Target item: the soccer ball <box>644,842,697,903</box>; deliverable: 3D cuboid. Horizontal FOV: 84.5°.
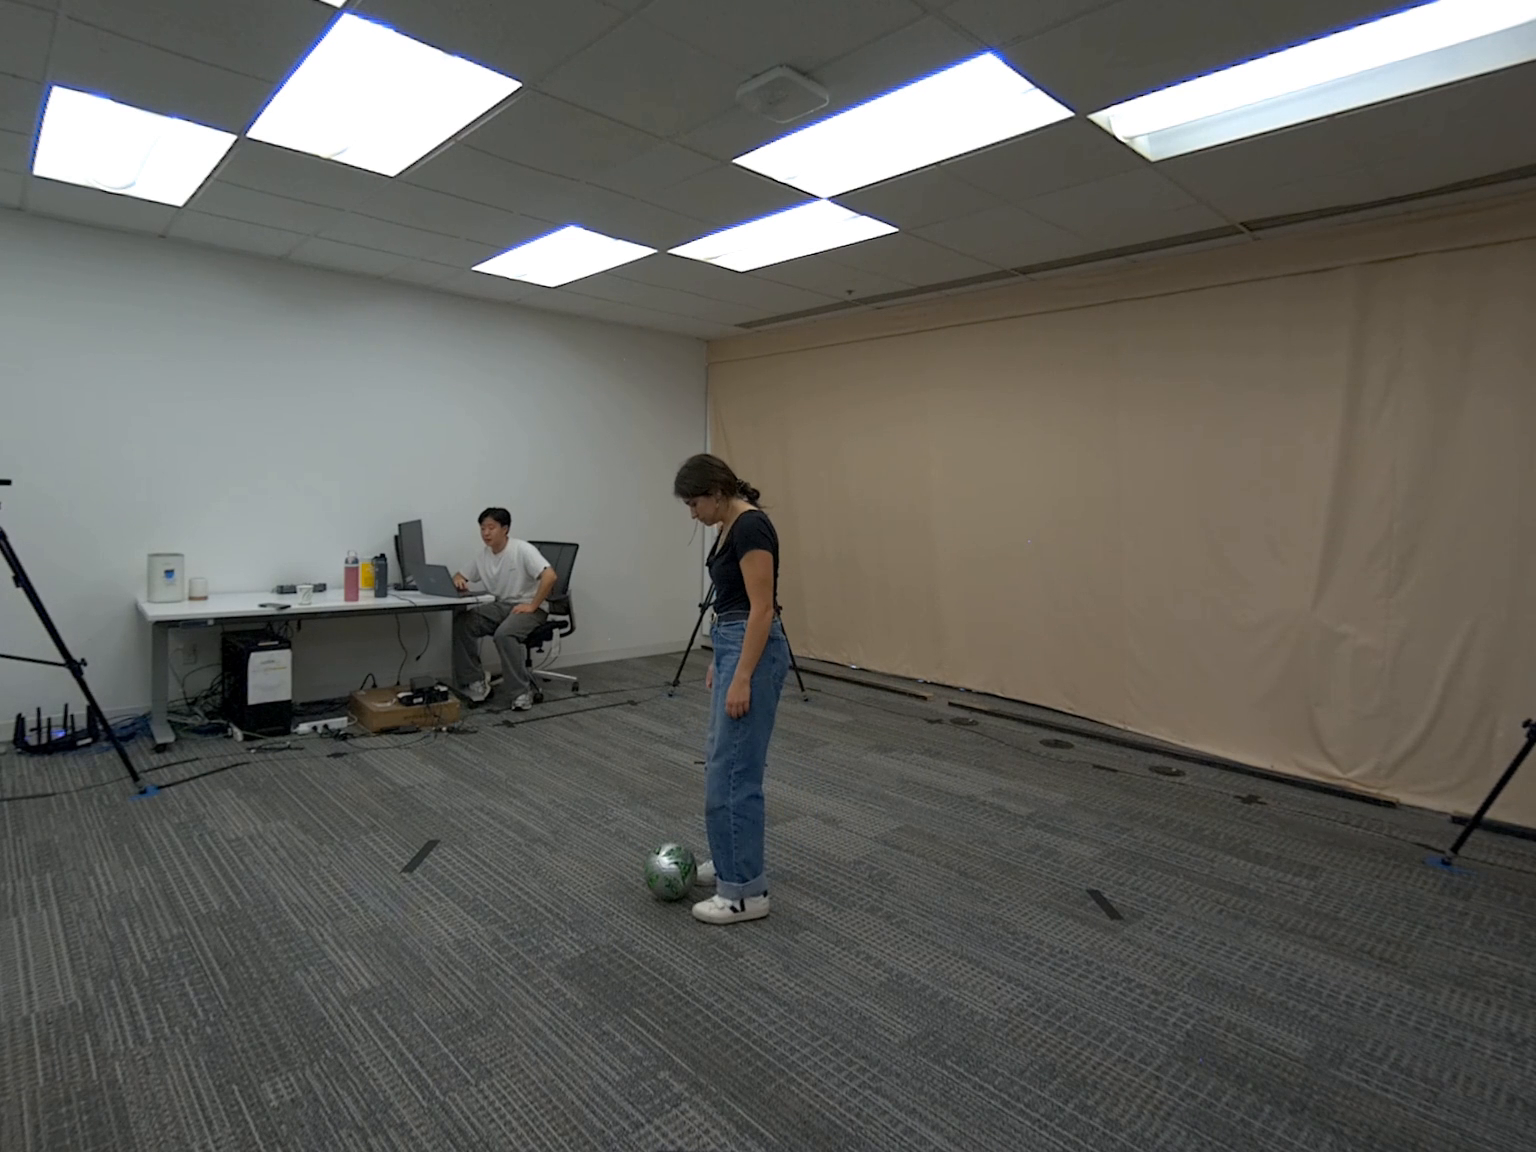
[{"bbox_3d":[-0.347,1.030,2.928,0.187,0.187,0.188,1,4,-1],"label":"soccer ball"}]
